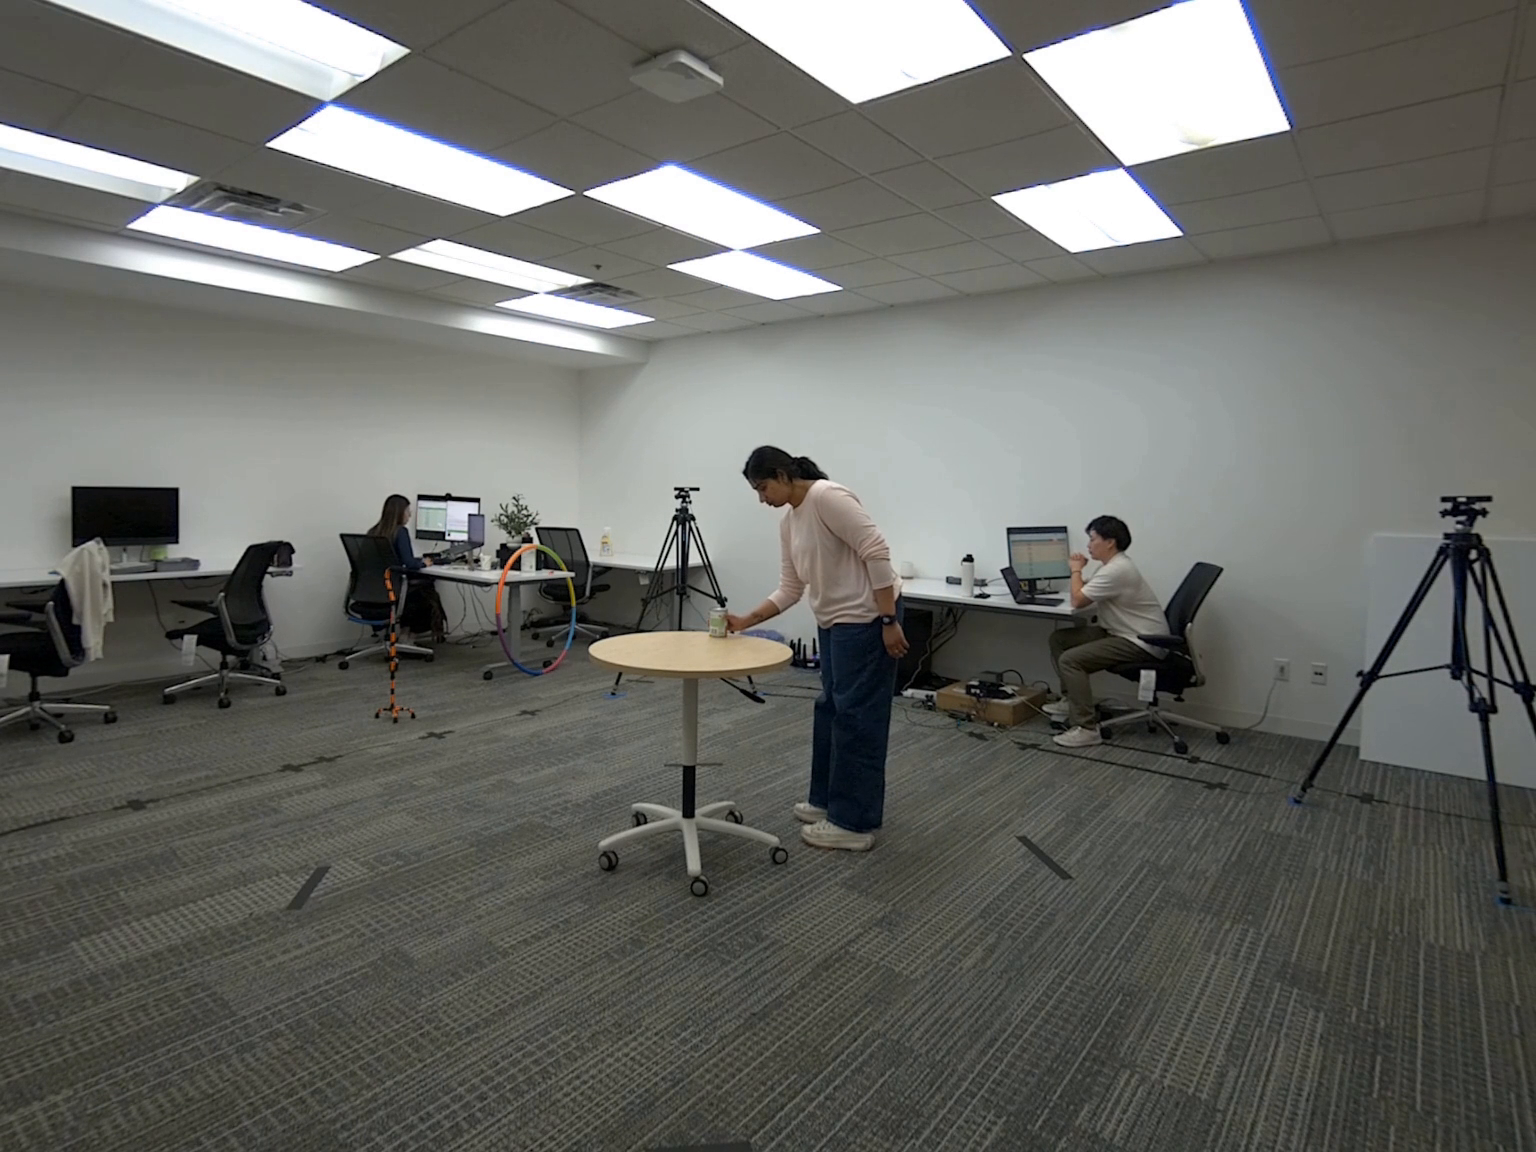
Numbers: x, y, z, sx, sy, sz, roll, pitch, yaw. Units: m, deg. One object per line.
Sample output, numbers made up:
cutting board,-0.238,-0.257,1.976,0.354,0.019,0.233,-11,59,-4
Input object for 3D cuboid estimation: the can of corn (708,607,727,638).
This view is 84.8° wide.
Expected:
can of corn,-0.217,0.189,3.493,0.074,0.110,0.074,2,4,-2
